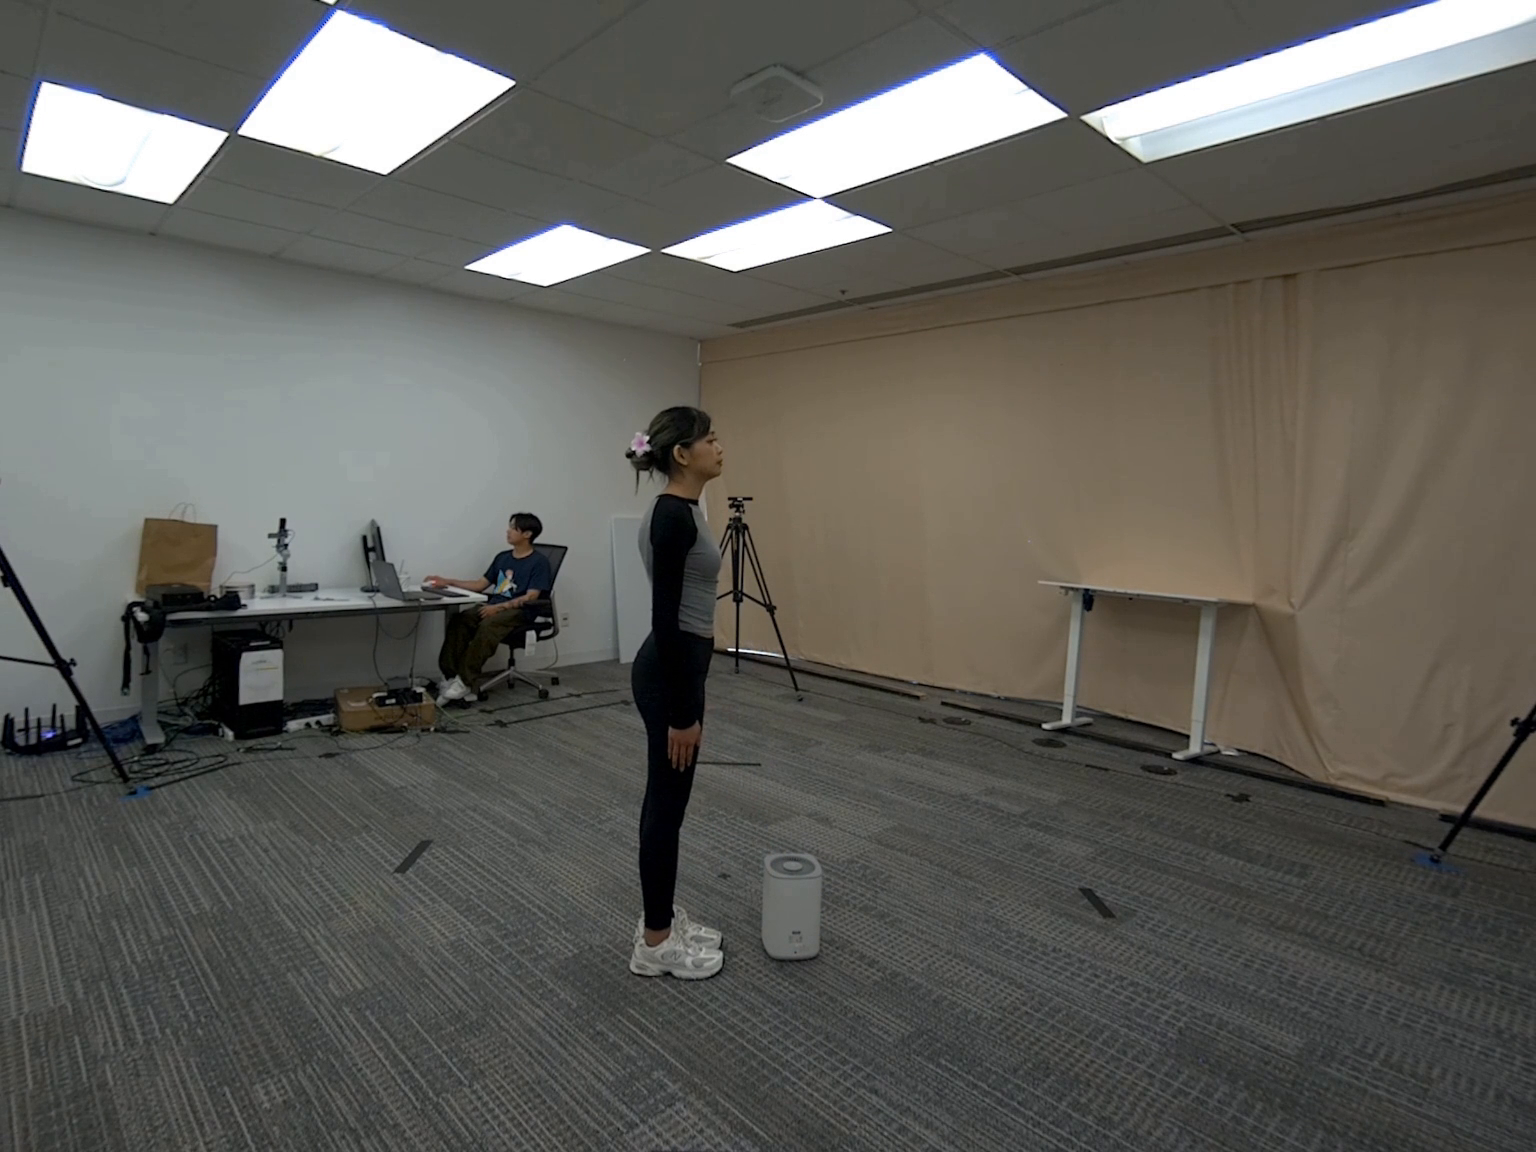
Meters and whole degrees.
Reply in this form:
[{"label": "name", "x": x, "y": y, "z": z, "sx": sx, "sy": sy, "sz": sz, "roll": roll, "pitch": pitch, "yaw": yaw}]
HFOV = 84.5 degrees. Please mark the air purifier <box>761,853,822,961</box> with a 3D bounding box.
[{"label": "air purifier", "x": 0.060, "y": 1.023, "z": 2.601, "sx": 0.170, "sy": 0.264, "sz": 0.173, "roll": 2, "pitch": 4, "yaw": -10}]
